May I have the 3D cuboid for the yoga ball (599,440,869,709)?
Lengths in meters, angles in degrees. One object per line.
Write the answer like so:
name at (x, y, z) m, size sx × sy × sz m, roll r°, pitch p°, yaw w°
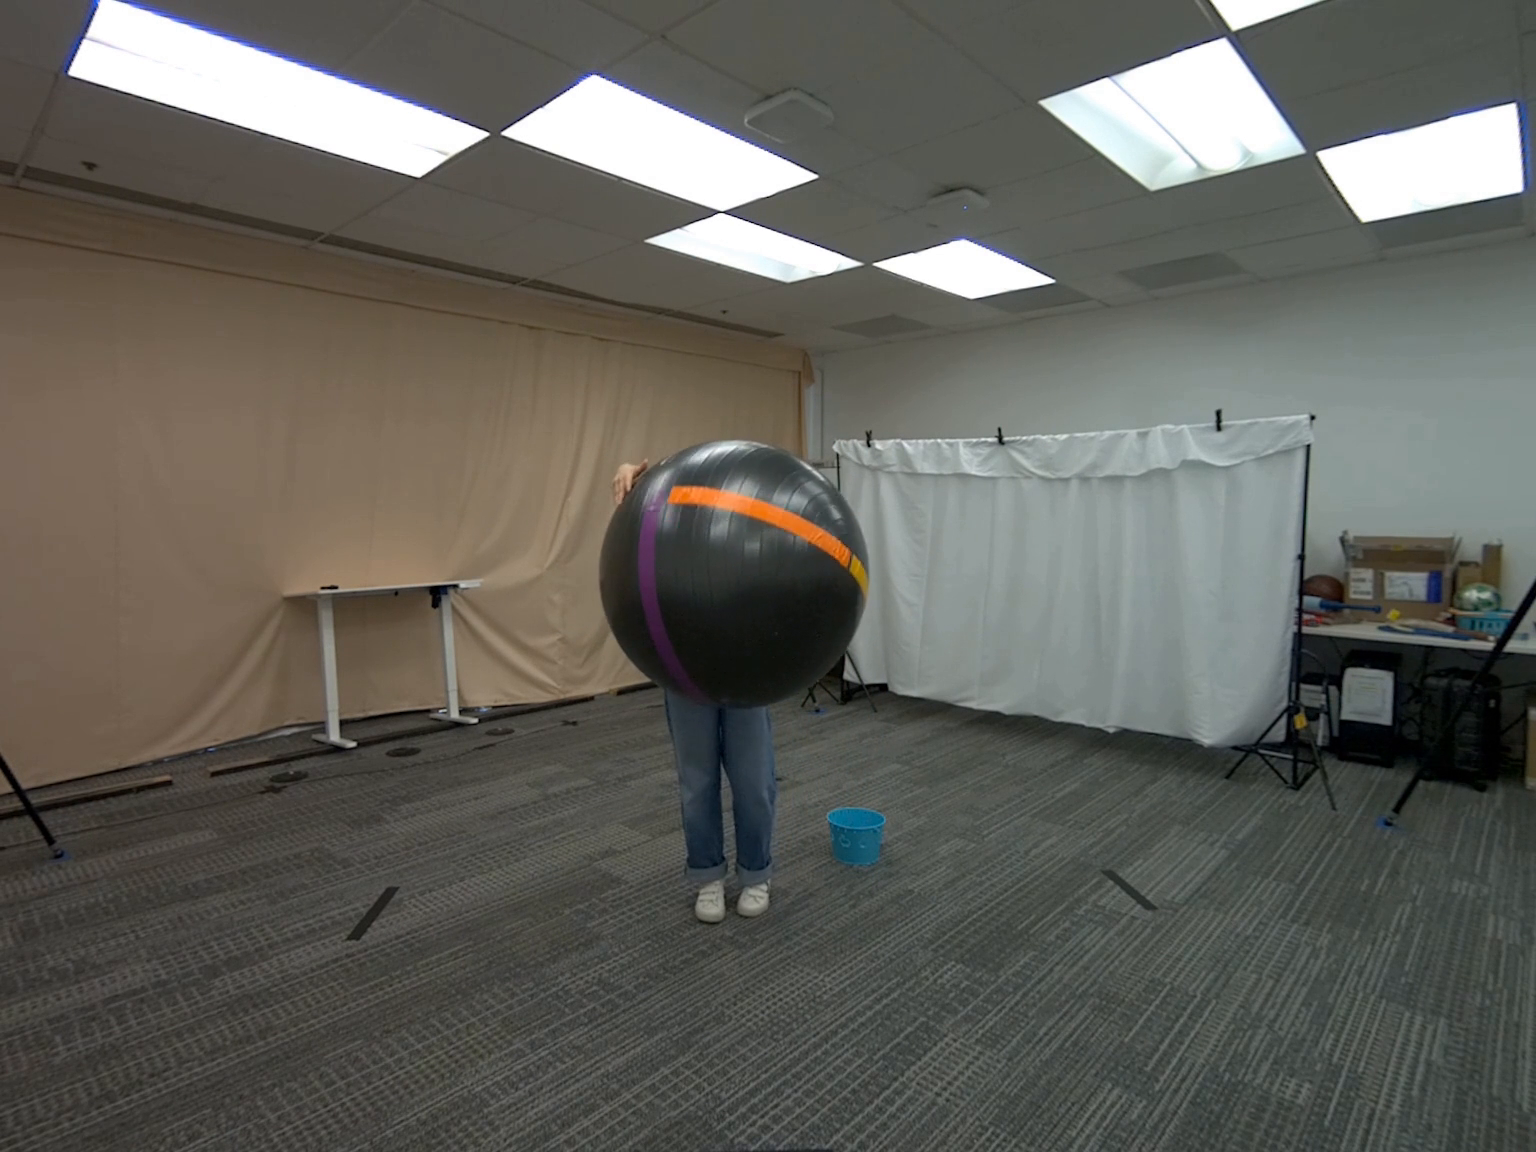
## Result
yoga ball at (-0.096, -0.005, 2.381) m, size 0.757 × 0.756 × 0.760 m, roll 0°, pitch 4°, yaw -2°
